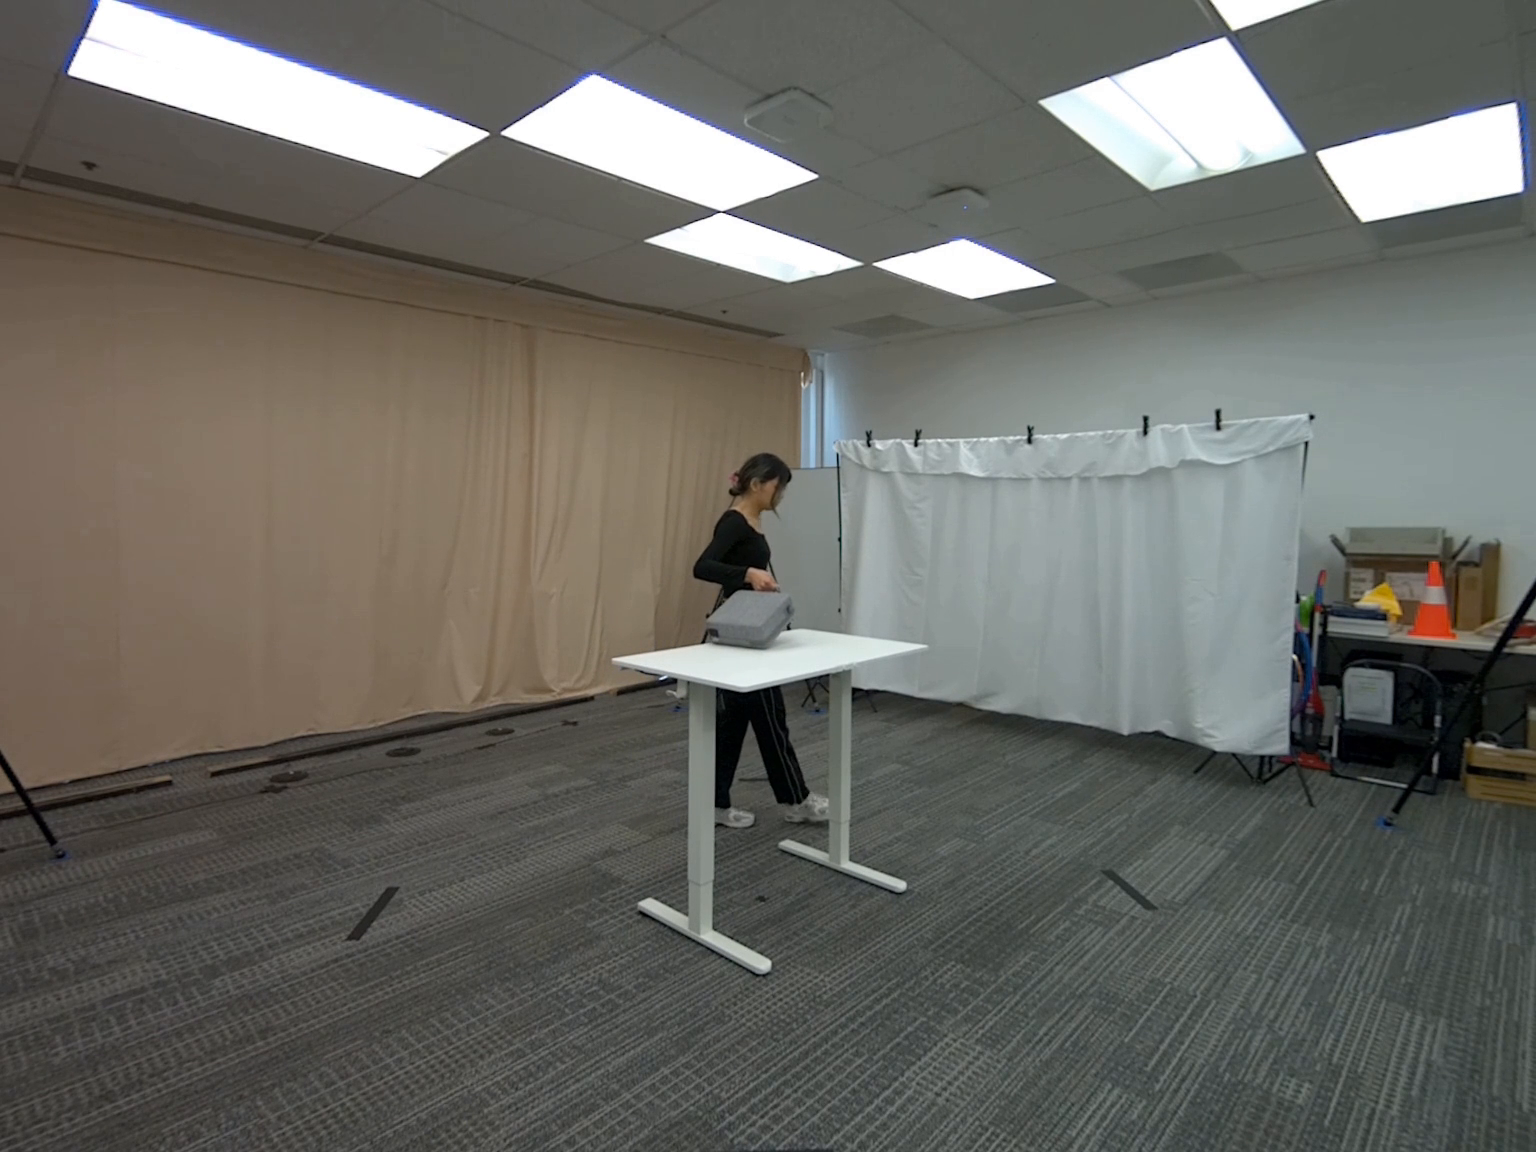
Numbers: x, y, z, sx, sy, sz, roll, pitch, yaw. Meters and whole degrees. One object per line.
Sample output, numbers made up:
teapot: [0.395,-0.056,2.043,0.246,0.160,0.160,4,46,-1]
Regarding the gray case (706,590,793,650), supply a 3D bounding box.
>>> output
gray case: [-0.051,0.156,3.092,0.265,0.102,0.258,2,30,34]
